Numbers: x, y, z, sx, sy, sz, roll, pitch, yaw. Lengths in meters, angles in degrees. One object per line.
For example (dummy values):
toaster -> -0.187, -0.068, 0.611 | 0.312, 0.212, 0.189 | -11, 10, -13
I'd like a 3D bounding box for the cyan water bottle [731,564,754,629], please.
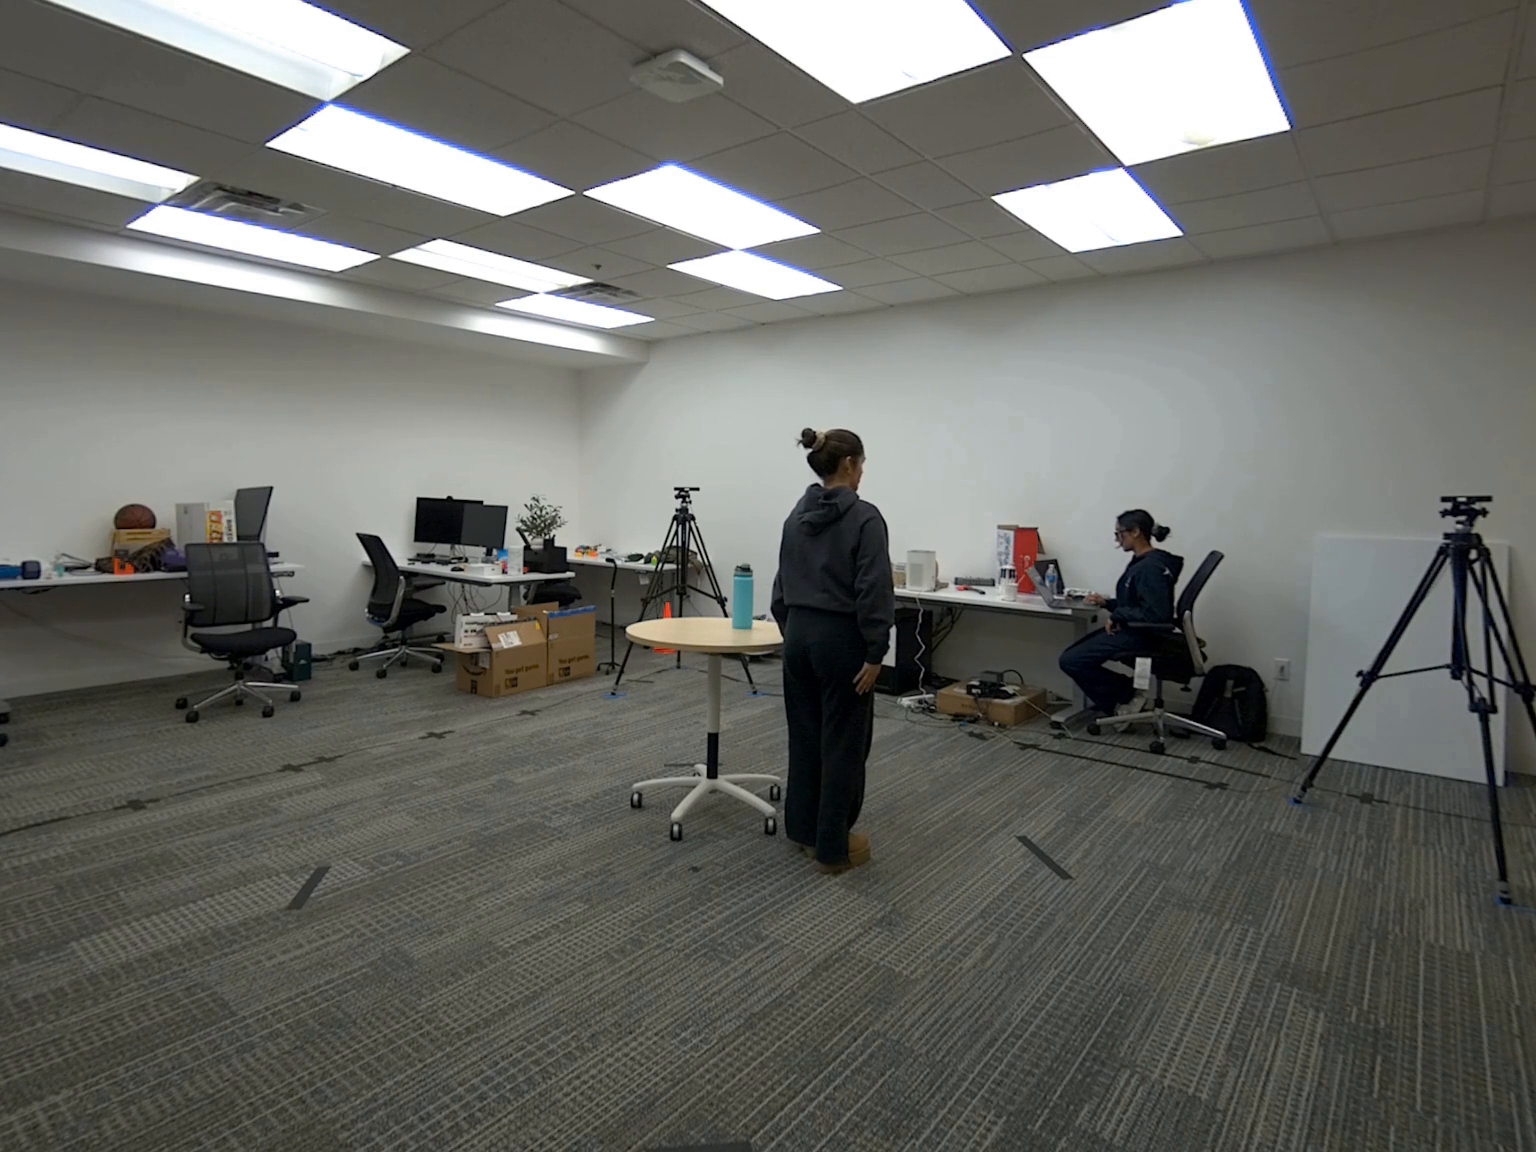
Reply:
cyan water bottle -> -0.118, 0.083, 3.746 | 0.092, 0.283, 0.092 | 2, 2, -2
